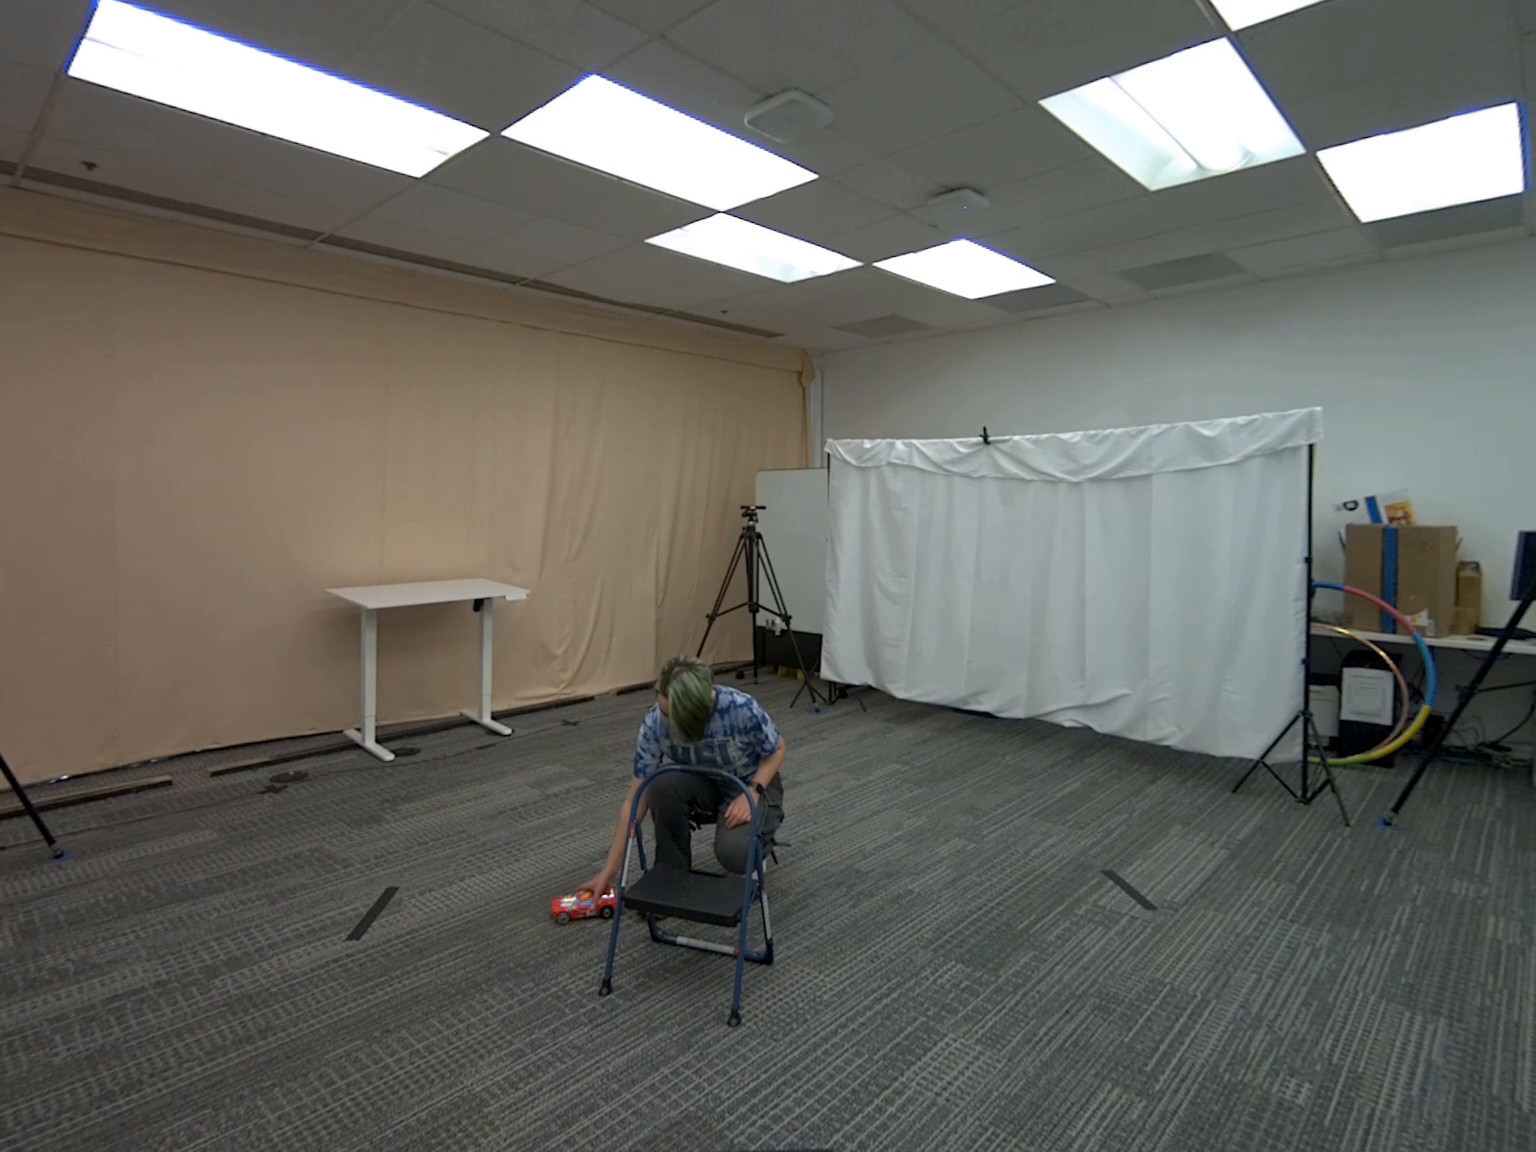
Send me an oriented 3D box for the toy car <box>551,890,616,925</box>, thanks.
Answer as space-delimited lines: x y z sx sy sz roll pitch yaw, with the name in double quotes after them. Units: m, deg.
-0.611 1.129 2.886 0.251 0.083 0.132 -11 5 -14 "toy car"
